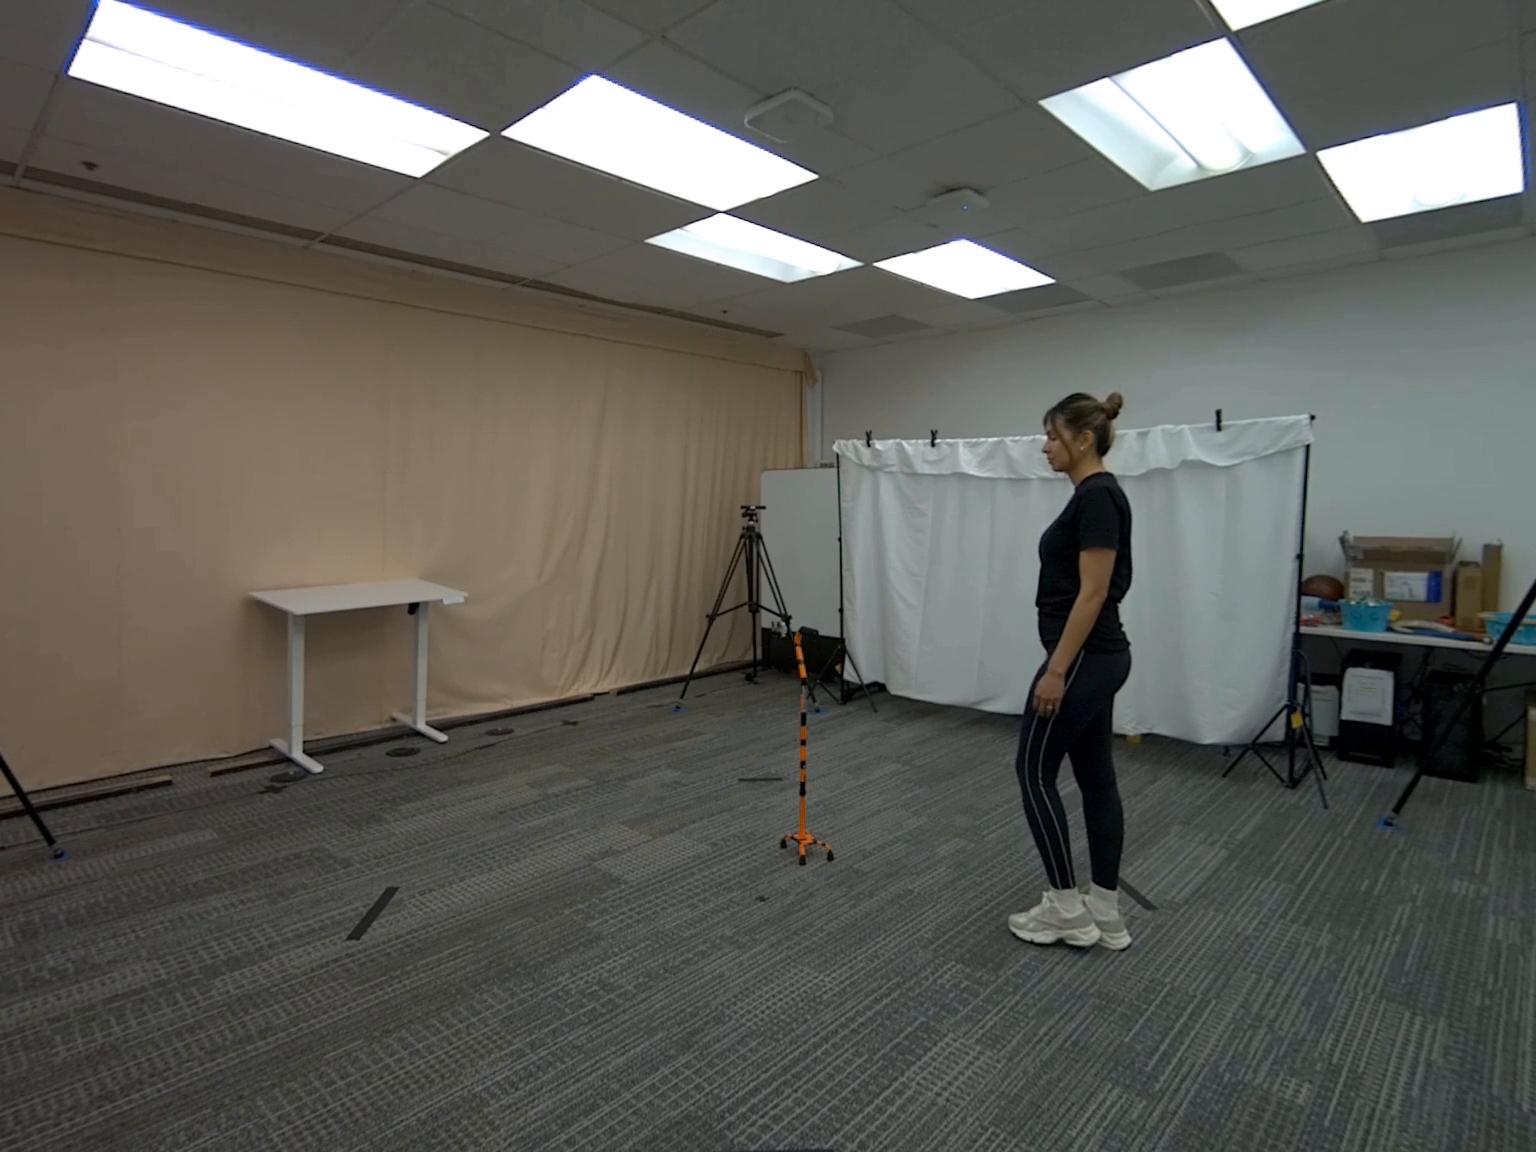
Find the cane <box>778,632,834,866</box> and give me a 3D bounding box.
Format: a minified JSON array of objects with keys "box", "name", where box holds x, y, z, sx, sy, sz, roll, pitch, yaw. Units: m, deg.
[{"box":[0.158,0.659,3.349,0.149,0.906,0.211,-2,3,-19],"name":"cane"}]
